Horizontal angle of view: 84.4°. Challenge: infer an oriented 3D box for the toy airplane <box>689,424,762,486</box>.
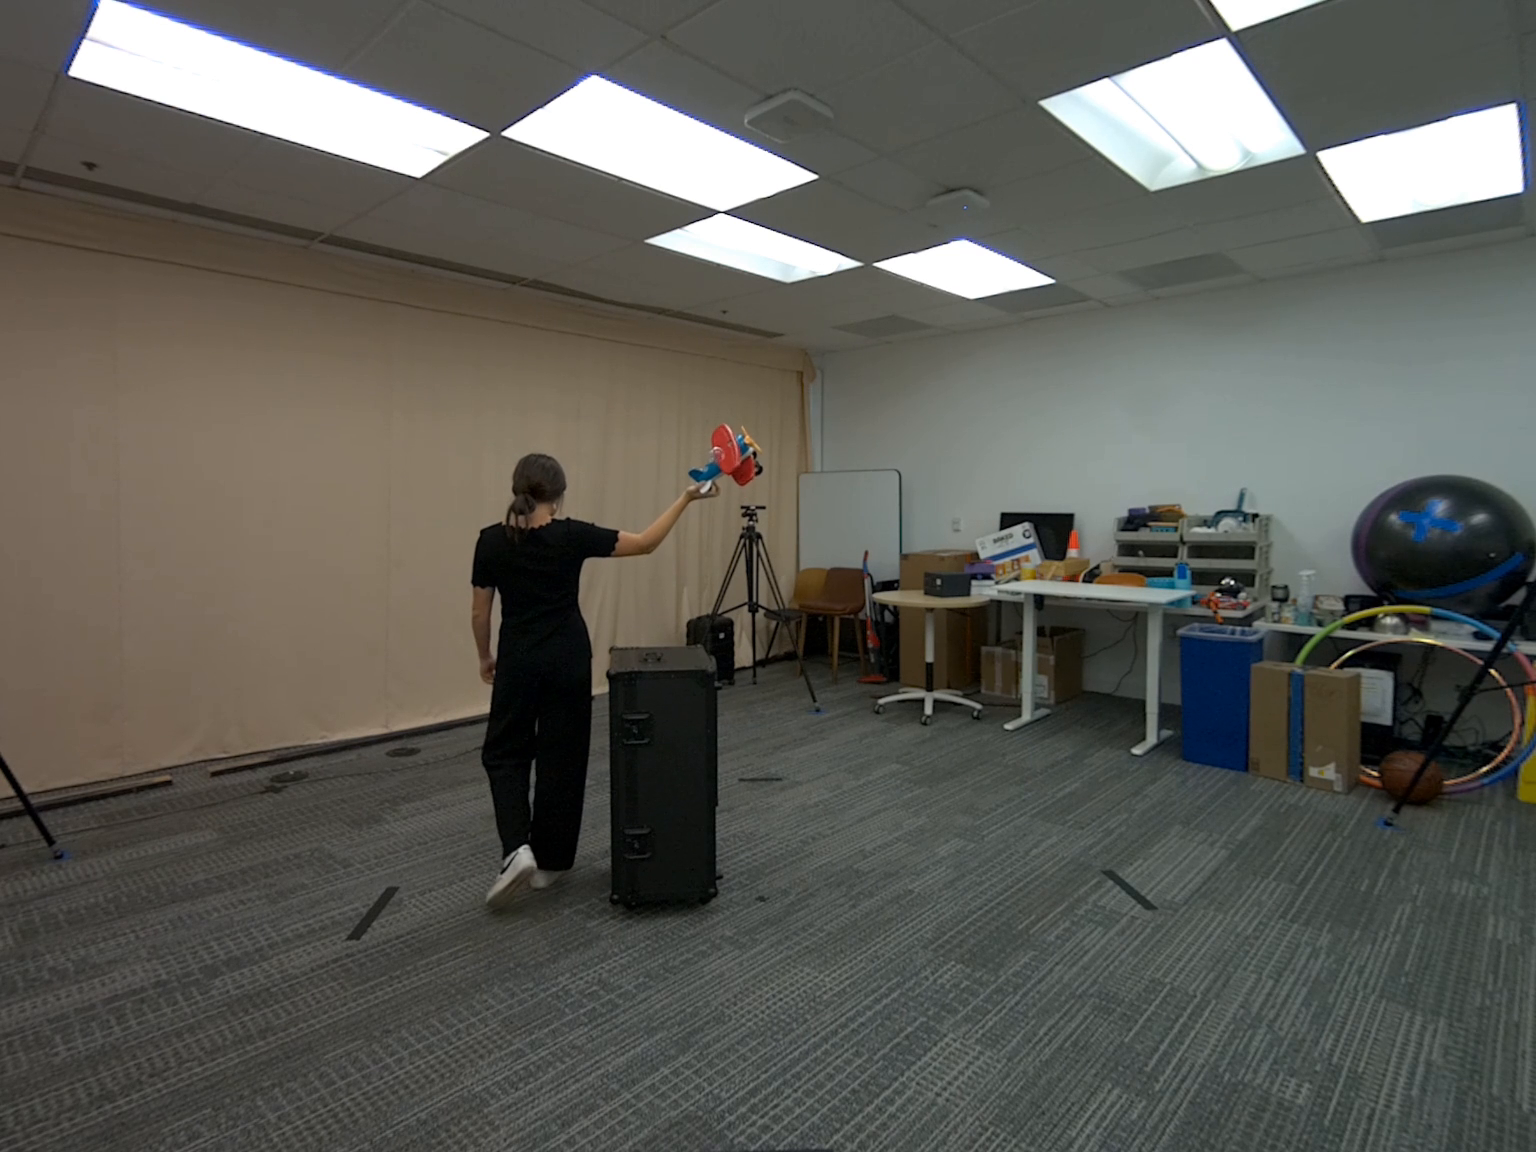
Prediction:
[{"bbox_3d":[-0.143,-0.395,3.018,0.260,0.258,0.151,30,-17,43],"label":"toy airplane"}]
